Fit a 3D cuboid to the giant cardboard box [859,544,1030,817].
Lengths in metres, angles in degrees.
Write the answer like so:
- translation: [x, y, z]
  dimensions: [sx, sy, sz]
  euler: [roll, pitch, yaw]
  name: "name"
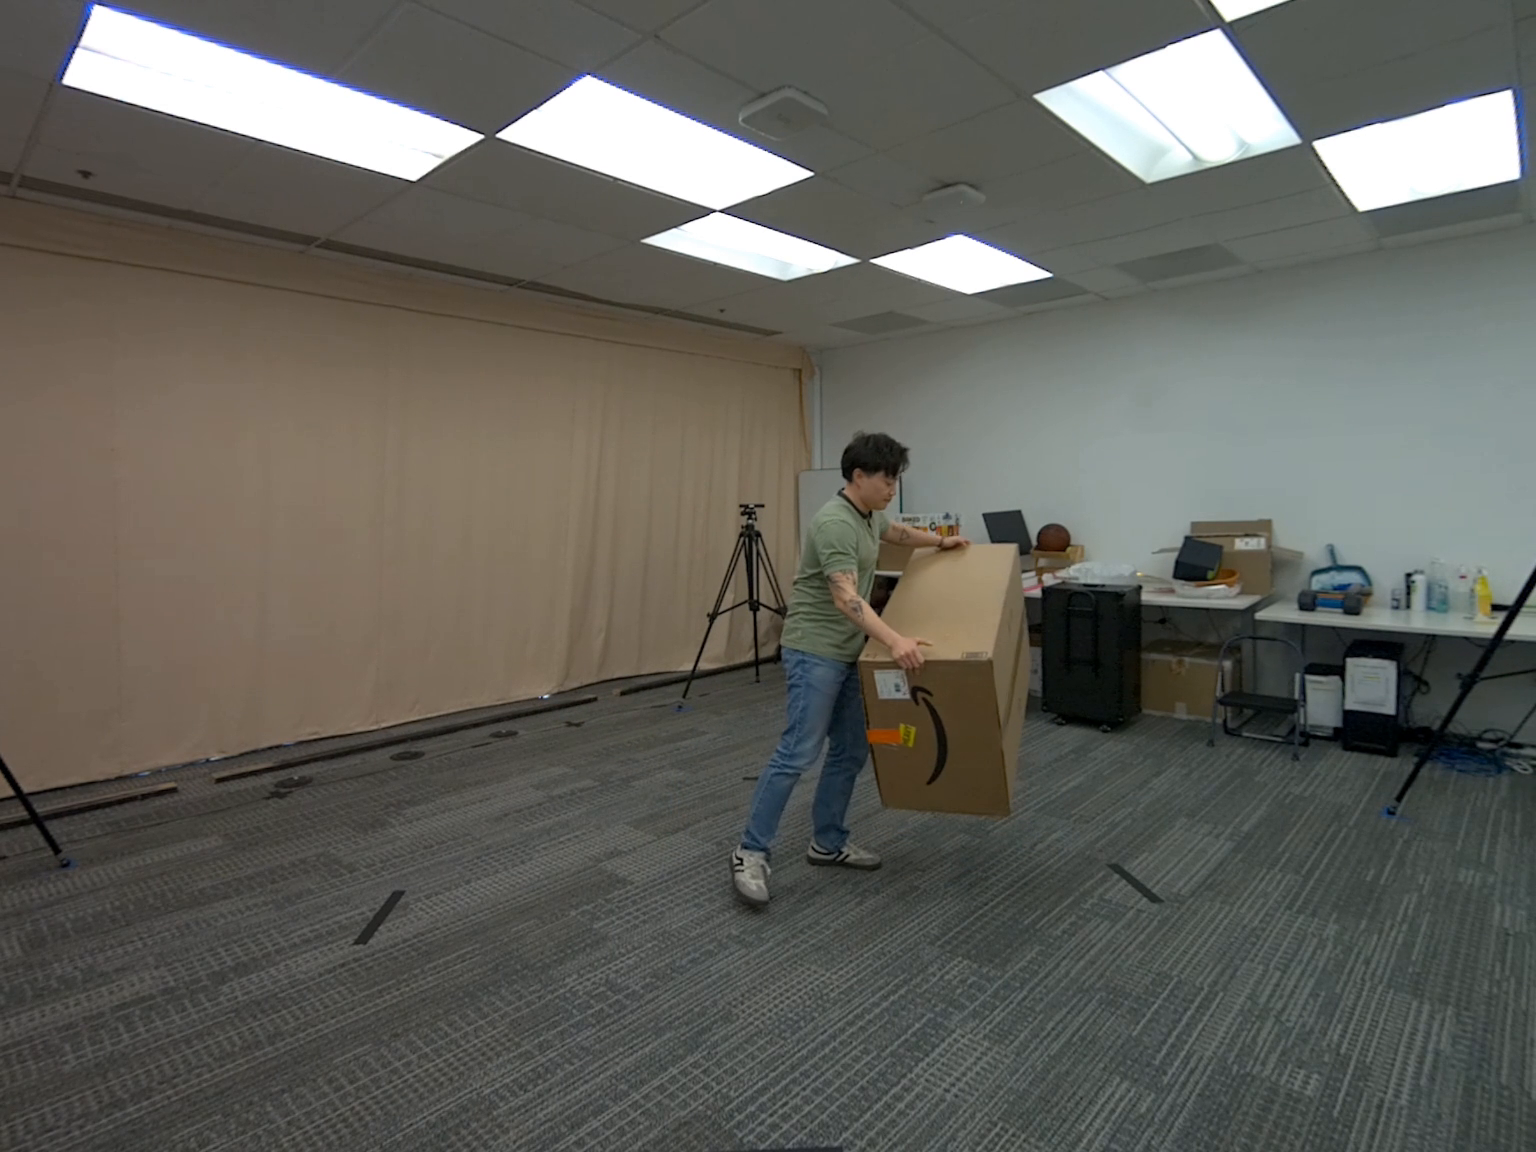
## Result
- translation: [0.705, 0.339, 3.153]
  dimensions: [0.436, 0.569, 1.017]
  euler: [-4, 21, 23]
  name: "giant cardboard box"
